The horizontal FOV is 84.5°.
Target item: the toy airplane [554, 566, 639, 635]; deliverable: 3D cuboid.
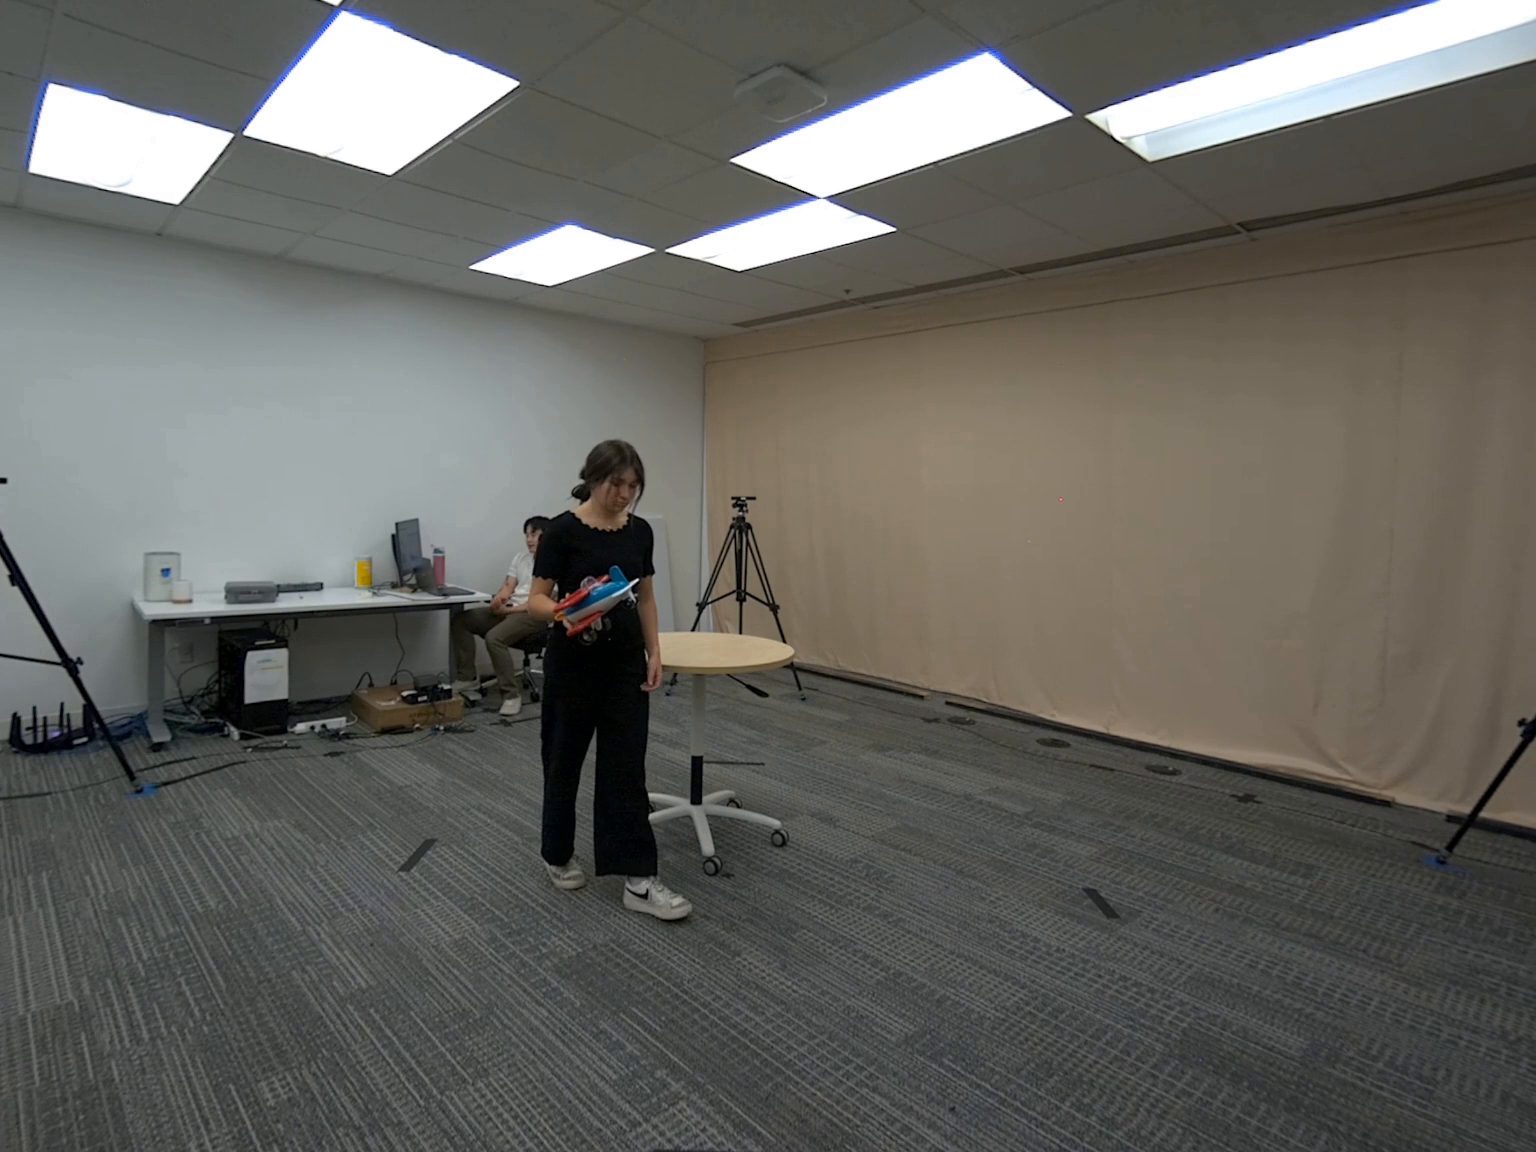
[{"bbox_3d":[-0.519,0.074,2.522,0.259,0.156,0.251,-42,2,-1],"label":"toy airplane"}]
